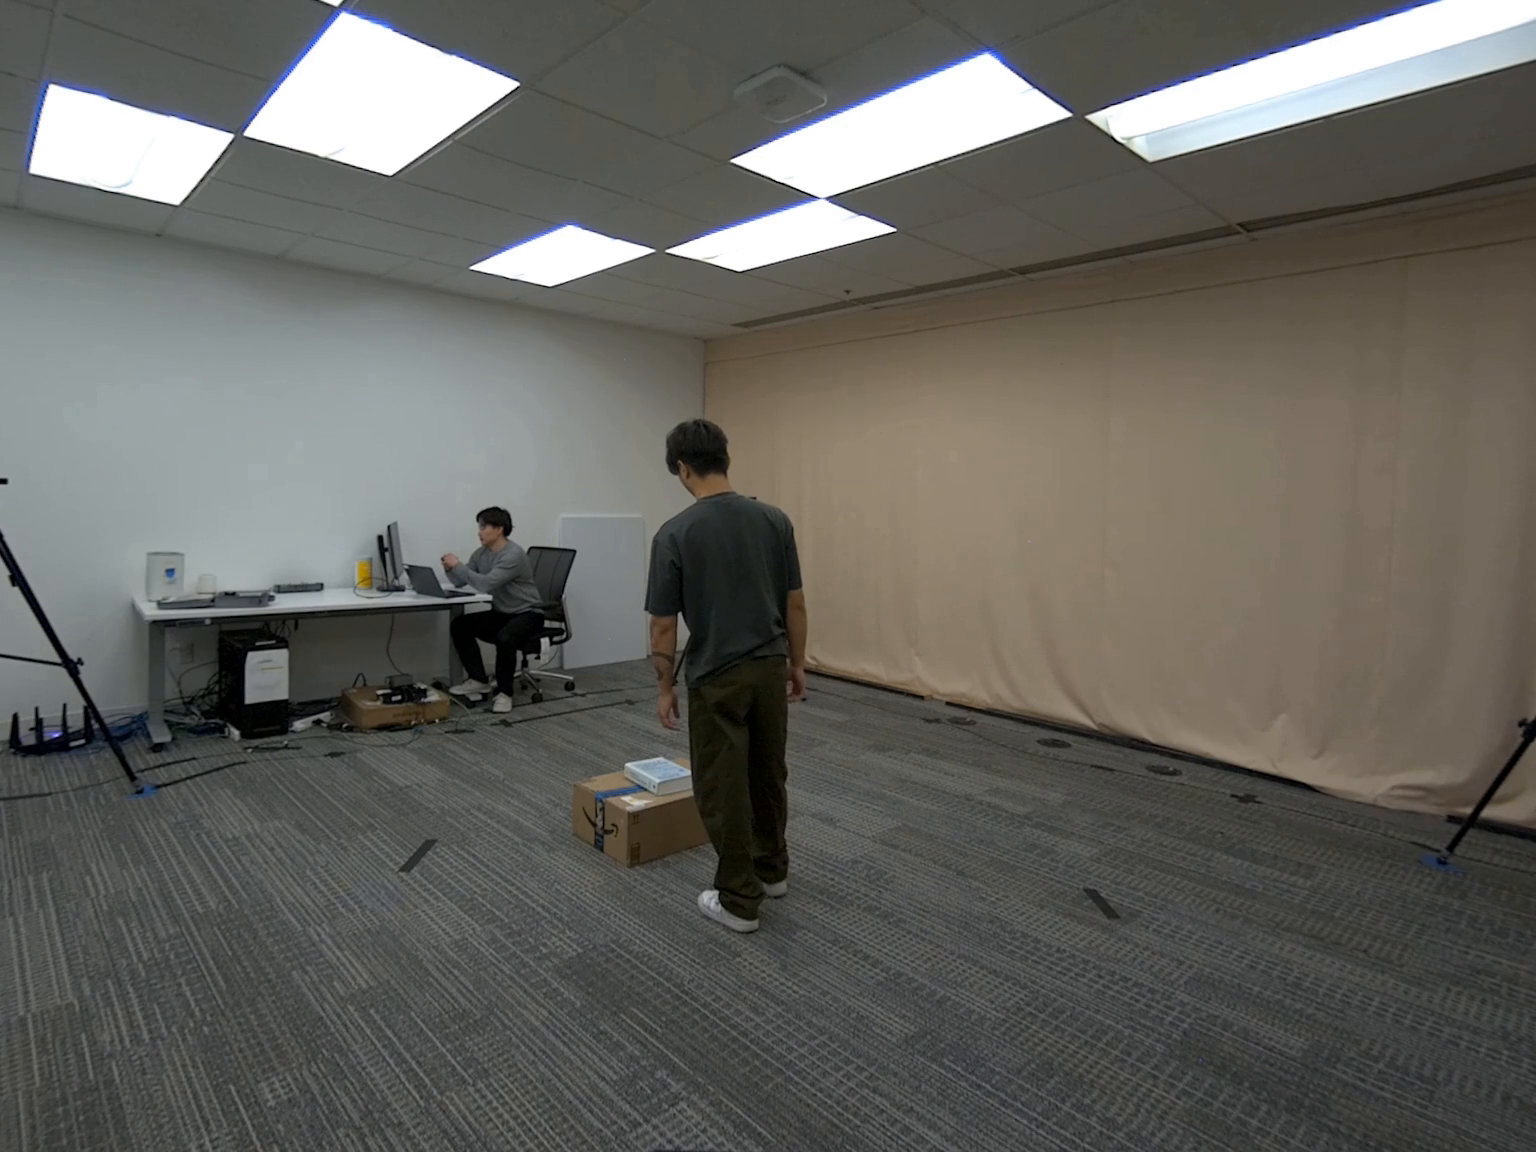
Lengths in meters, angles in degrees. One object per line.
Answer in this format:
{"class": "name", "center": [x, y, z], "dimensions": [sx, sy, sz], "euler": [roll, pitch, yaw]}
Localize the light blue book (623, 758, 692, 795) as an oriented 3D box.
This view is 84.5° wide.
{"class": "light blue book", "center": [-0.459, 0.826, 3.492], "dimensions": [0.187, 0.059, 0.268], "euler": [-1, 6, -39]}
